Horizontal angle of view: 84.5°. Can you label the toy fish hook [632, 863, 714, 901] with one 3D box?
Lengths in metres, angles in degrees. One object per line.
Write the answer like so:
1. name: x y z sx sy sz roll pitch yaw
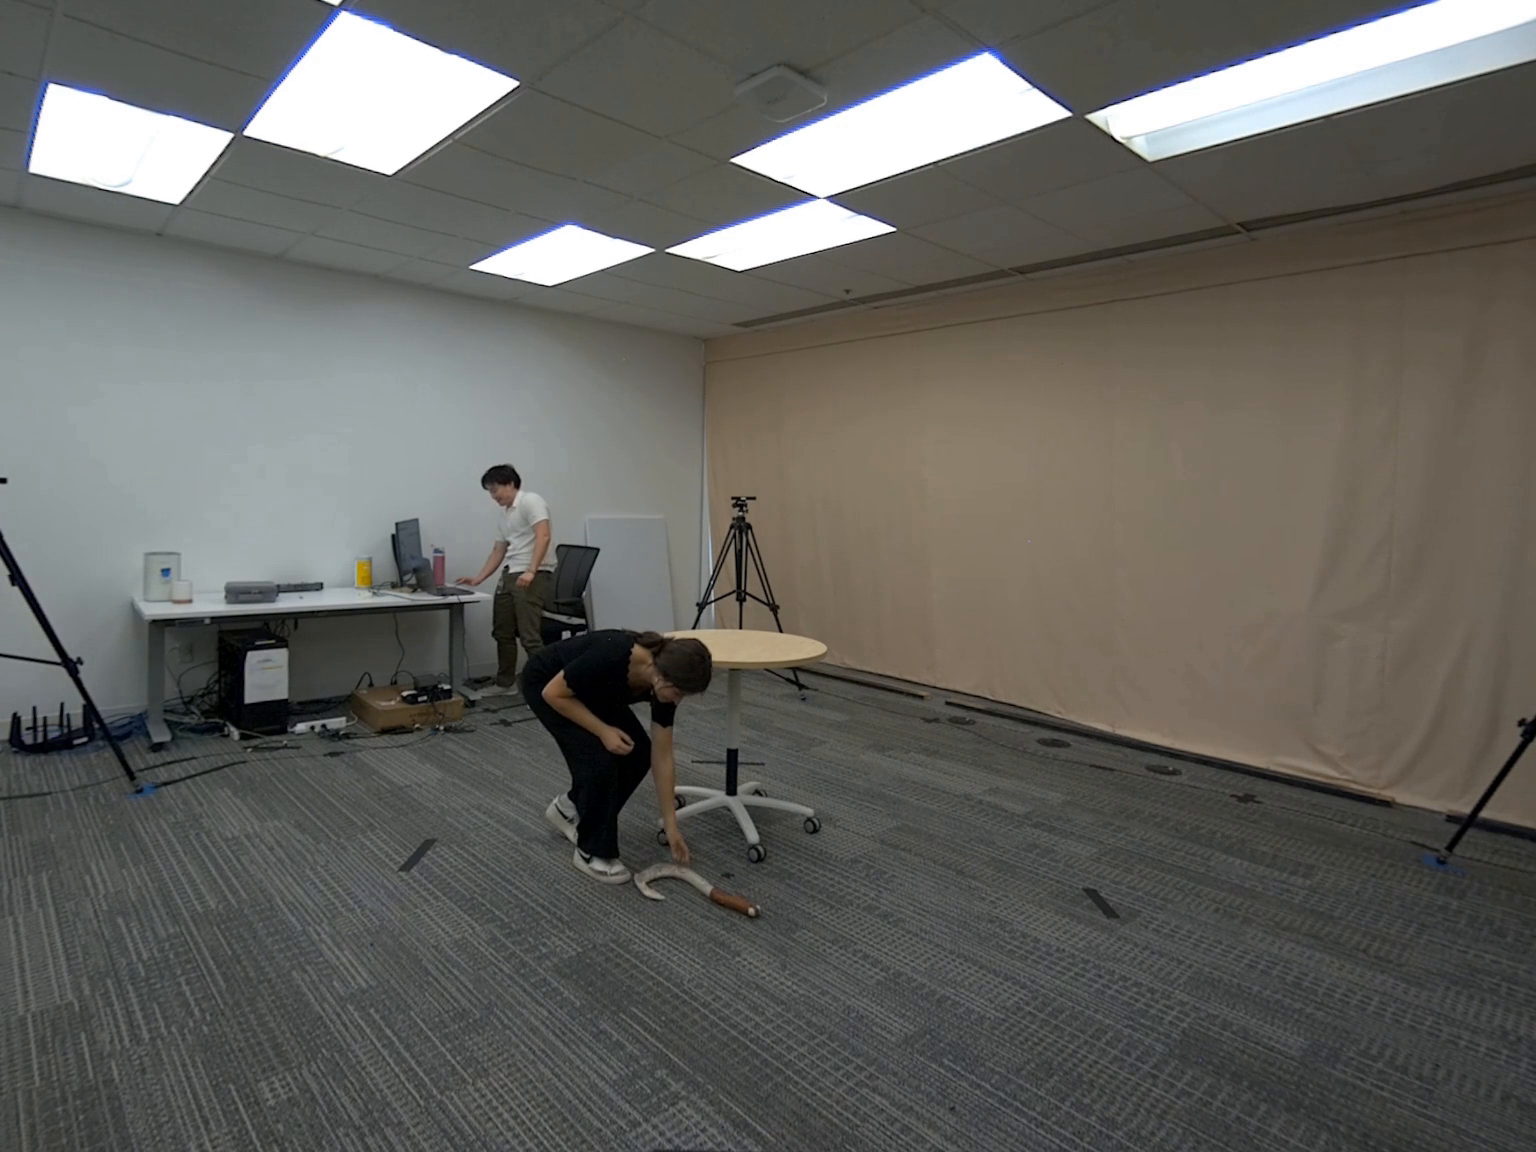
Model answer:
1. toy fish hook: -0.266 1.104 2.915 0.519 0.048 0.221 5 14 41
